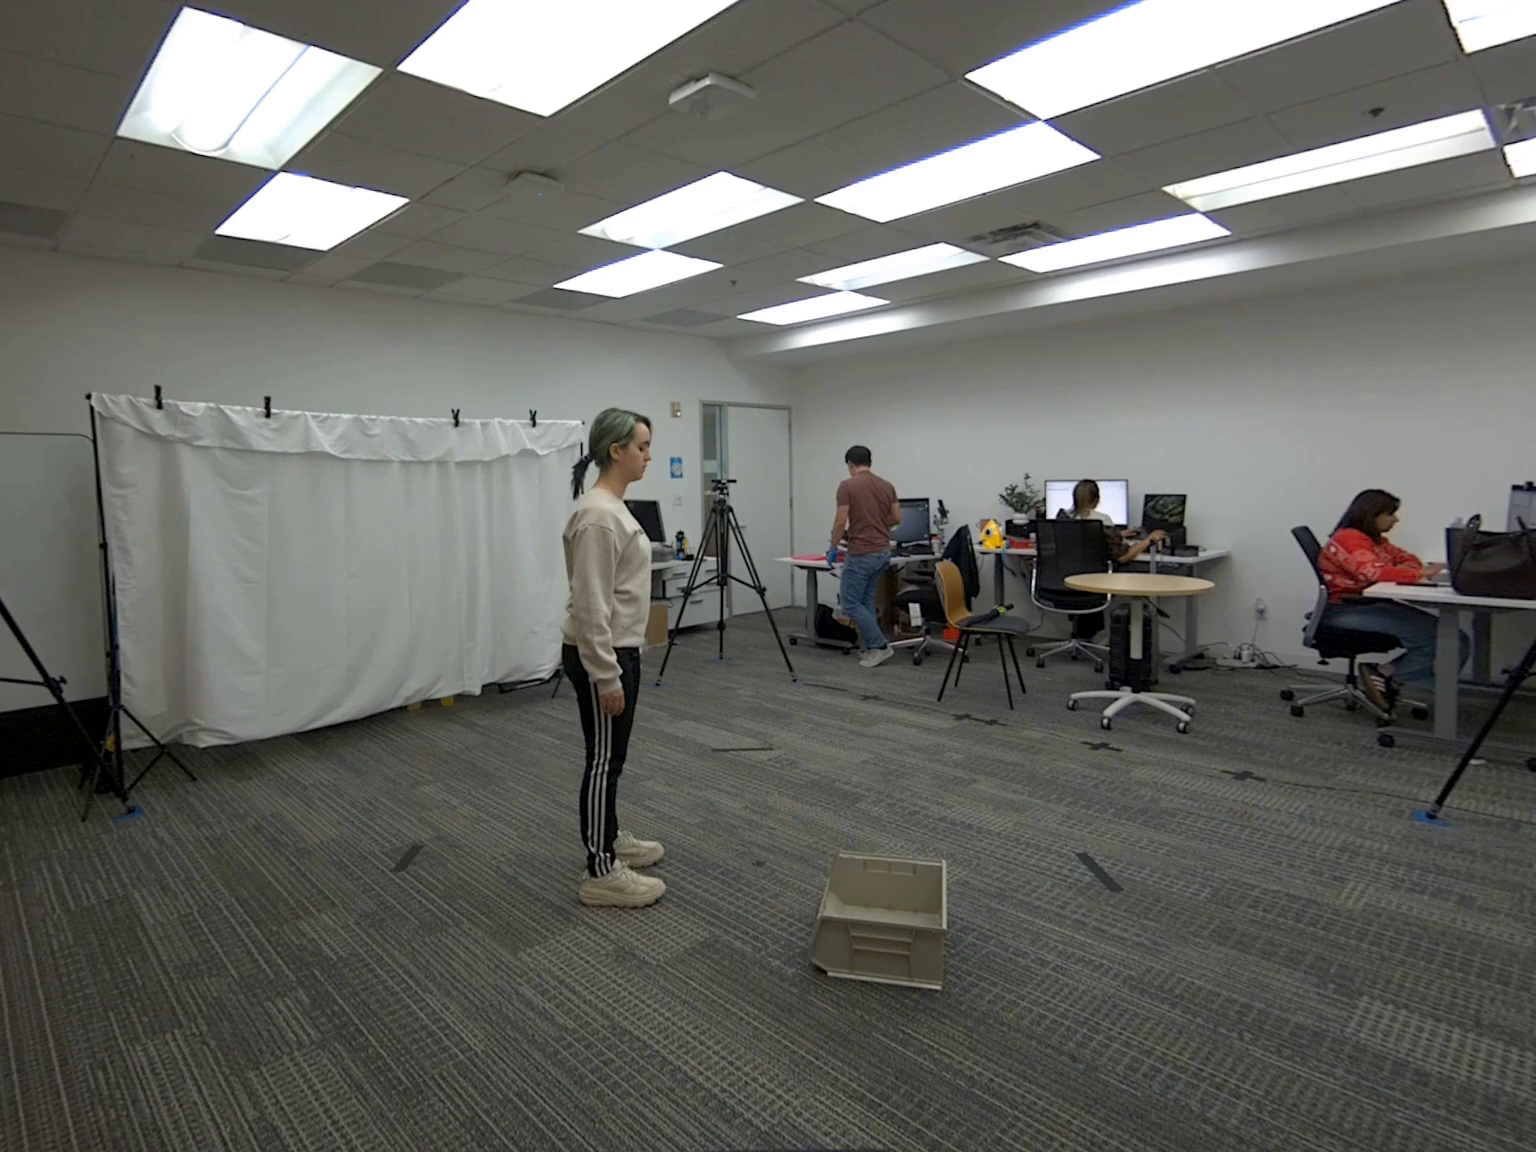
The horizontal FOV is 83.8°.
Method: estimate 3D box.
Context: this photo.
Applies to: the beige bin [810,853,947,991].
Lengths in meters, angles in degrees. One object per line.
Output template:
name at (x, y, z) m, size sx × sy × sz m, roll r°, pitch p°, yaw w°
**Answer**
beige bin at (0.346, 1.017, 2.550) m, size 0.382 × 0.188 × 0.418 m, roll 1°, pitch 6°, yaw 13°
